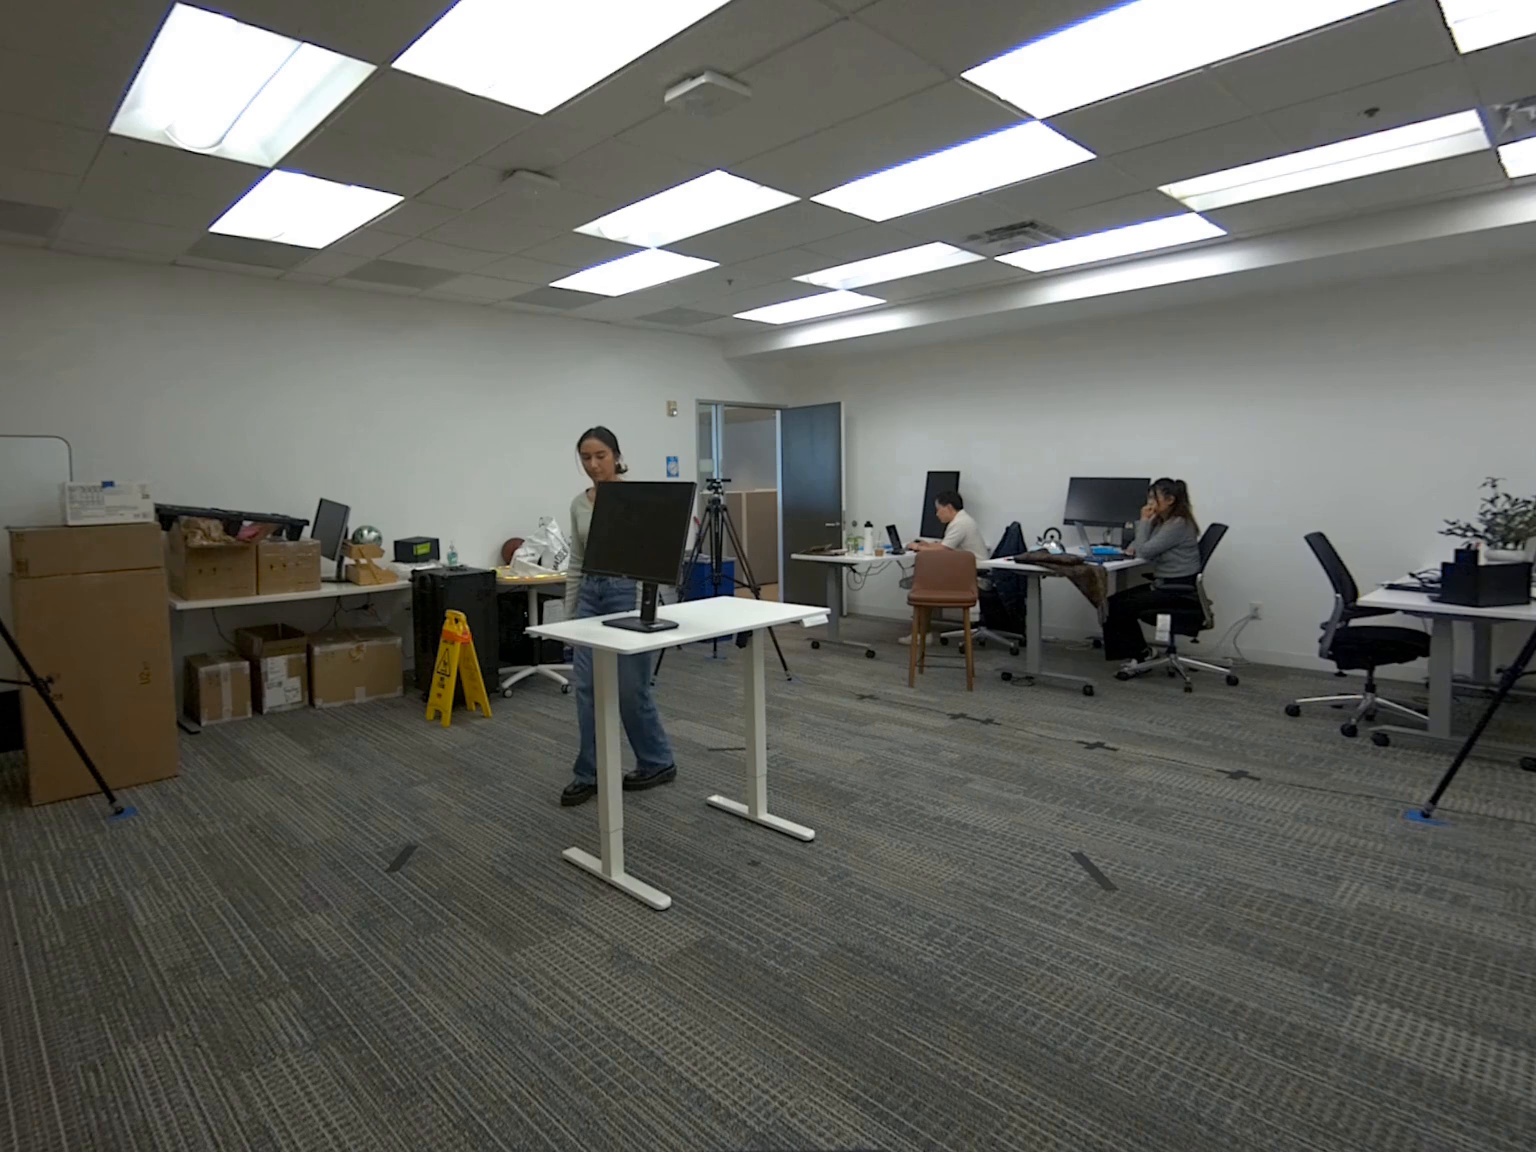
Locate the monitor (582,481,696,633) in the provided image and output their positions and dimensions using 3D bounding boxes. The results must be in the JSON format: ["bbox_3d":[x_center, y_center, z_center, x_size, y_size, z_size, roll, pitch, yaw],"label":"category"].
[{"bbox_3d":[-0.450,-0.077,3.030,0.547,0.513,0.170,6,9,43],"label":"monitor"}]
